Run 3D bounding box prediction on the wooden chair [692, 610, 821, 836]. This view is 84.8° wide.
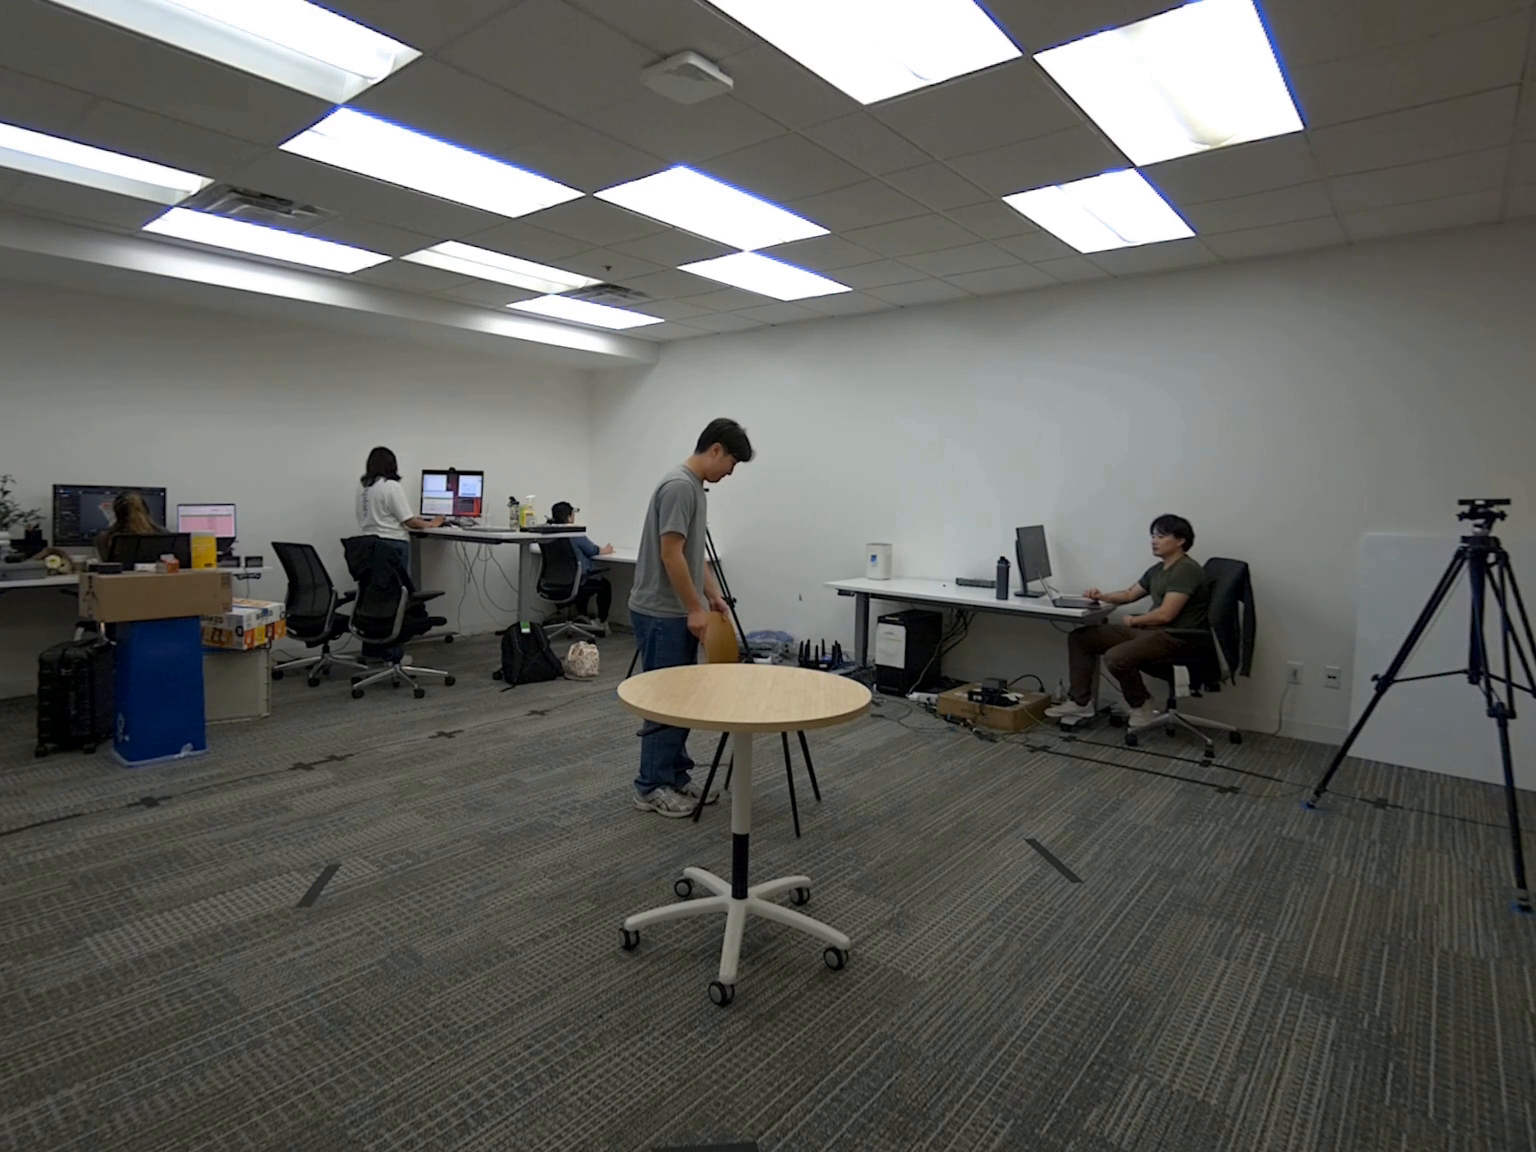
[{"bbox_3d":[-0.034,0.587,3.653,0.532,0.876,0.470,-3,1,17],"label":"wooden chair"}]
